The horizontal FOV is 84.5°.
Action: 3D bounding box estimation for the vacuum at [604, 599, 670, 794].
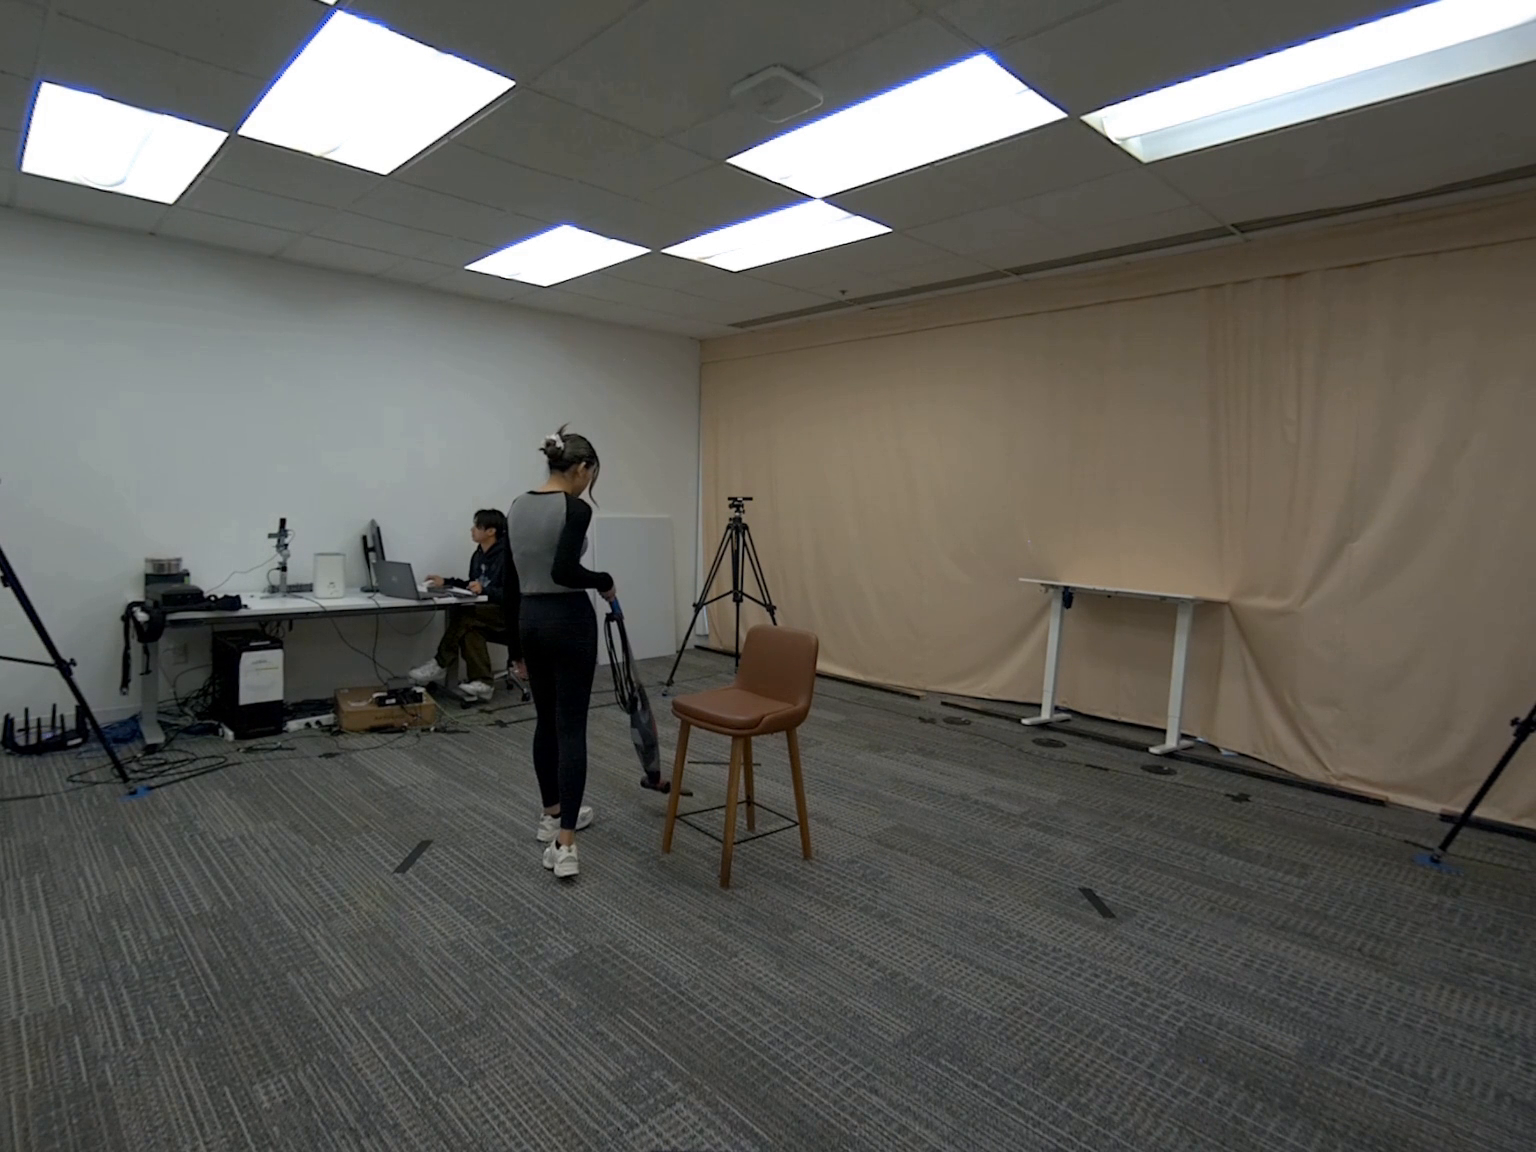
[{"bbox_3d":[-0.559,0.473,3.486,0.258,1.029,0.144,3,27,28],"label":"vacuum"}]
